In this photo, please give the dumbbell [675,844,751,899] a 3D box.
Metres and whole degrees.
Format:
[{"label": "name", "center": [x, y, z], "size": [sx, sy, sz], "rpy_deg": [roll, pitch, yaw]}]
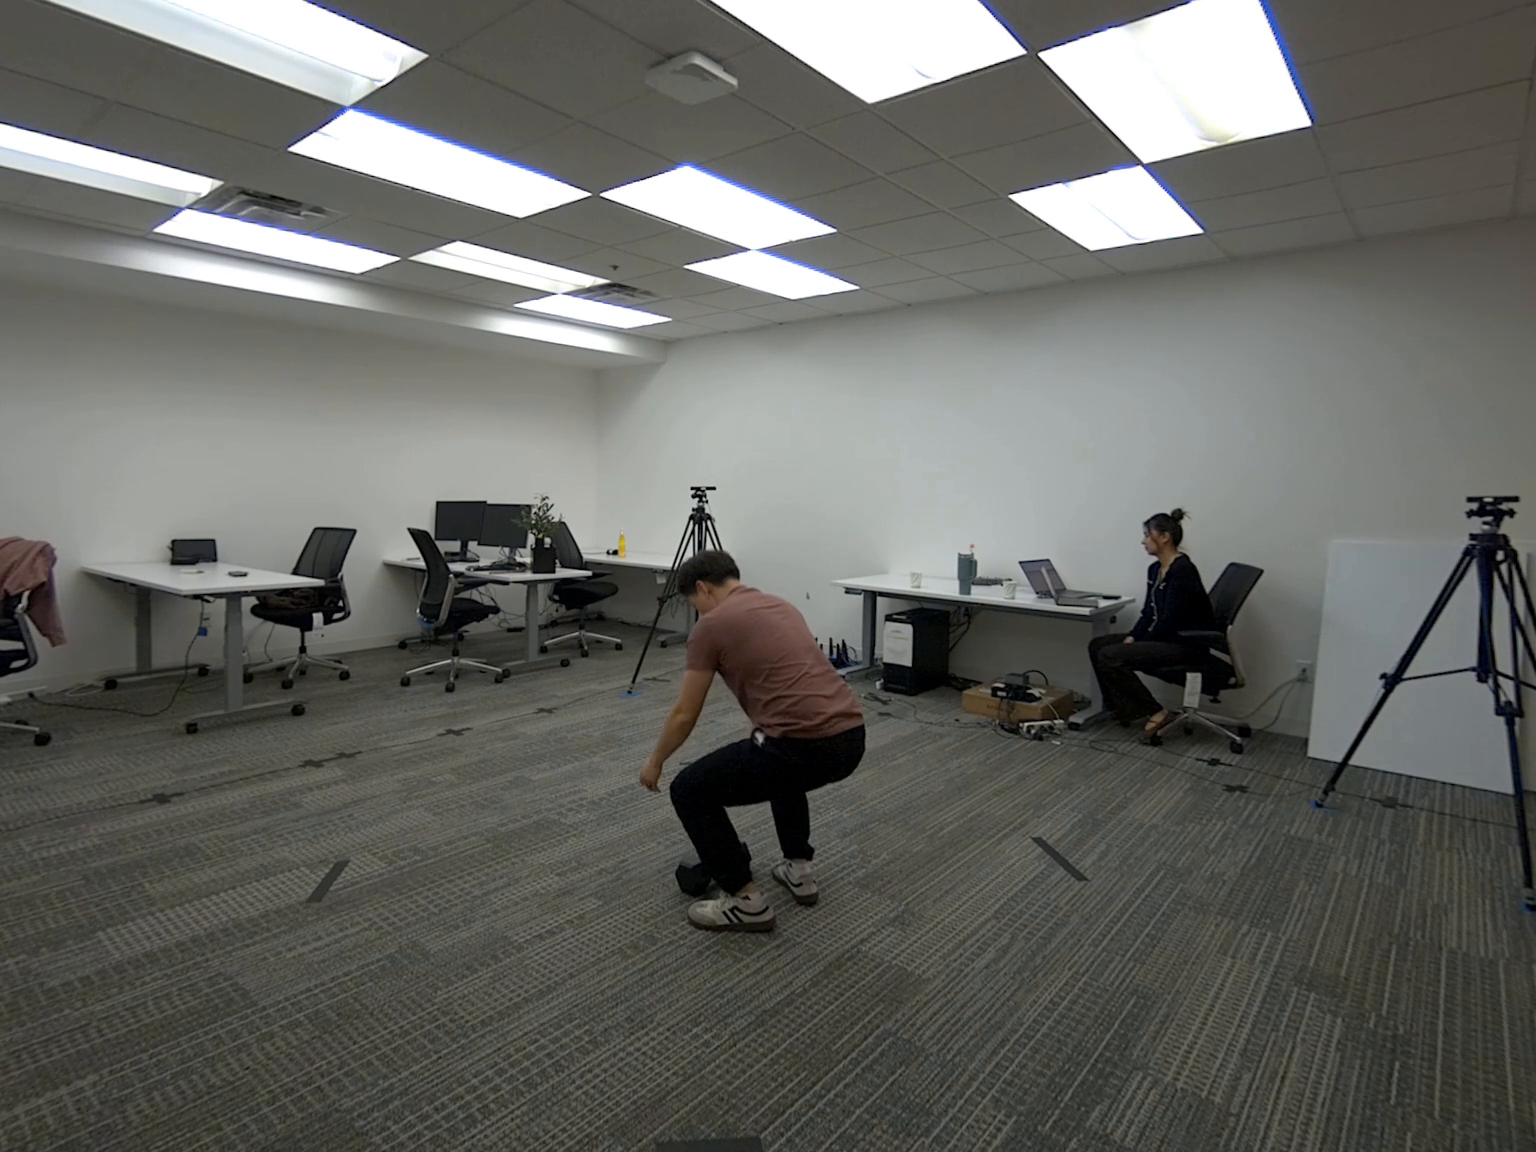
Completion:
[{"label": "dumbbell", "center": [-0.195, 1.016, 3.003], "size": [0.285, 0.122, 0.113], "rpy_deg": [-4, 34, -48]}]
